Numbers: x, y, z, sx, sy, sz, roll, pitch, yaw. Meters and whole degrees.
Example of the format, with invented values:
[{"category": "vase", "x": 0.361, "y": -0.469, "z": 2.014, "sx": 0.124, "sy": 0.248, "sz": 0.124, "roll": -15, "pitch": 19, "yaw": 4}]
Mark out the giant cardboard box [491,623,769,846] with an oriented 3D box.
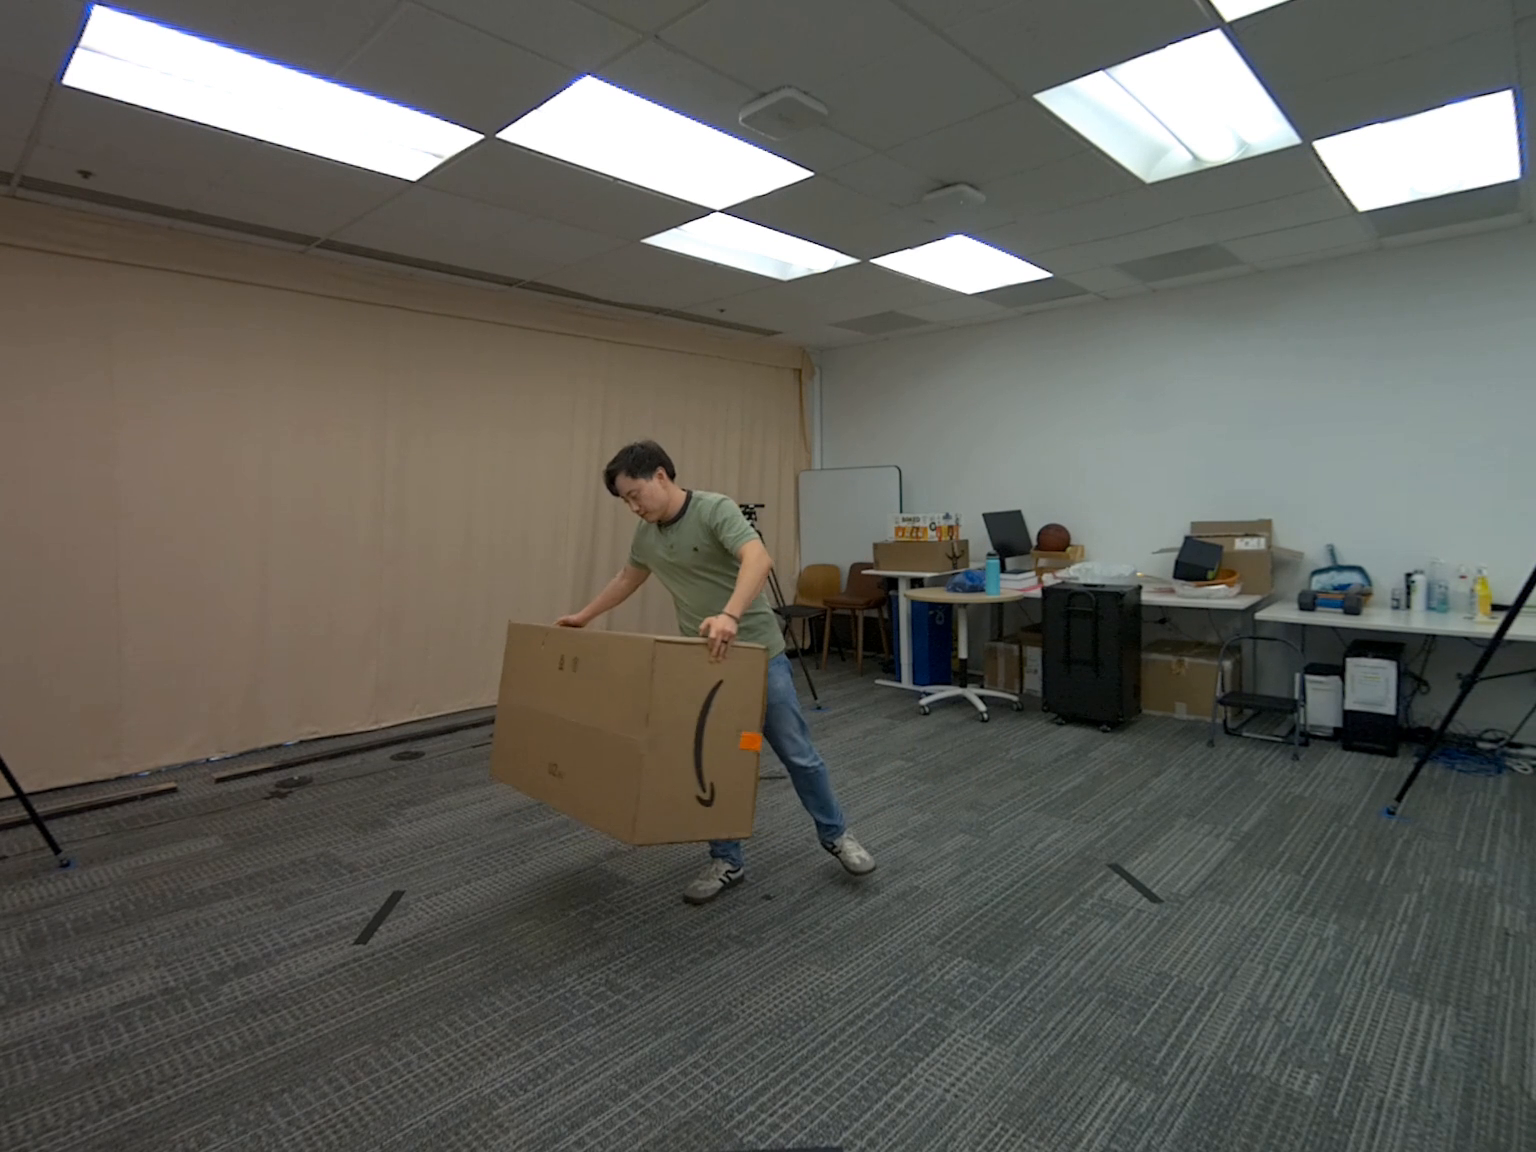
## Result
[{"category": "giant cardboard box", "x": -0.501, "y": 0.478, "z": 2.847, "sx": 0.412, "sy": 0.579, "sz": 1.058, "roll": 10, "pitch": -7, "yaw": -38}]
